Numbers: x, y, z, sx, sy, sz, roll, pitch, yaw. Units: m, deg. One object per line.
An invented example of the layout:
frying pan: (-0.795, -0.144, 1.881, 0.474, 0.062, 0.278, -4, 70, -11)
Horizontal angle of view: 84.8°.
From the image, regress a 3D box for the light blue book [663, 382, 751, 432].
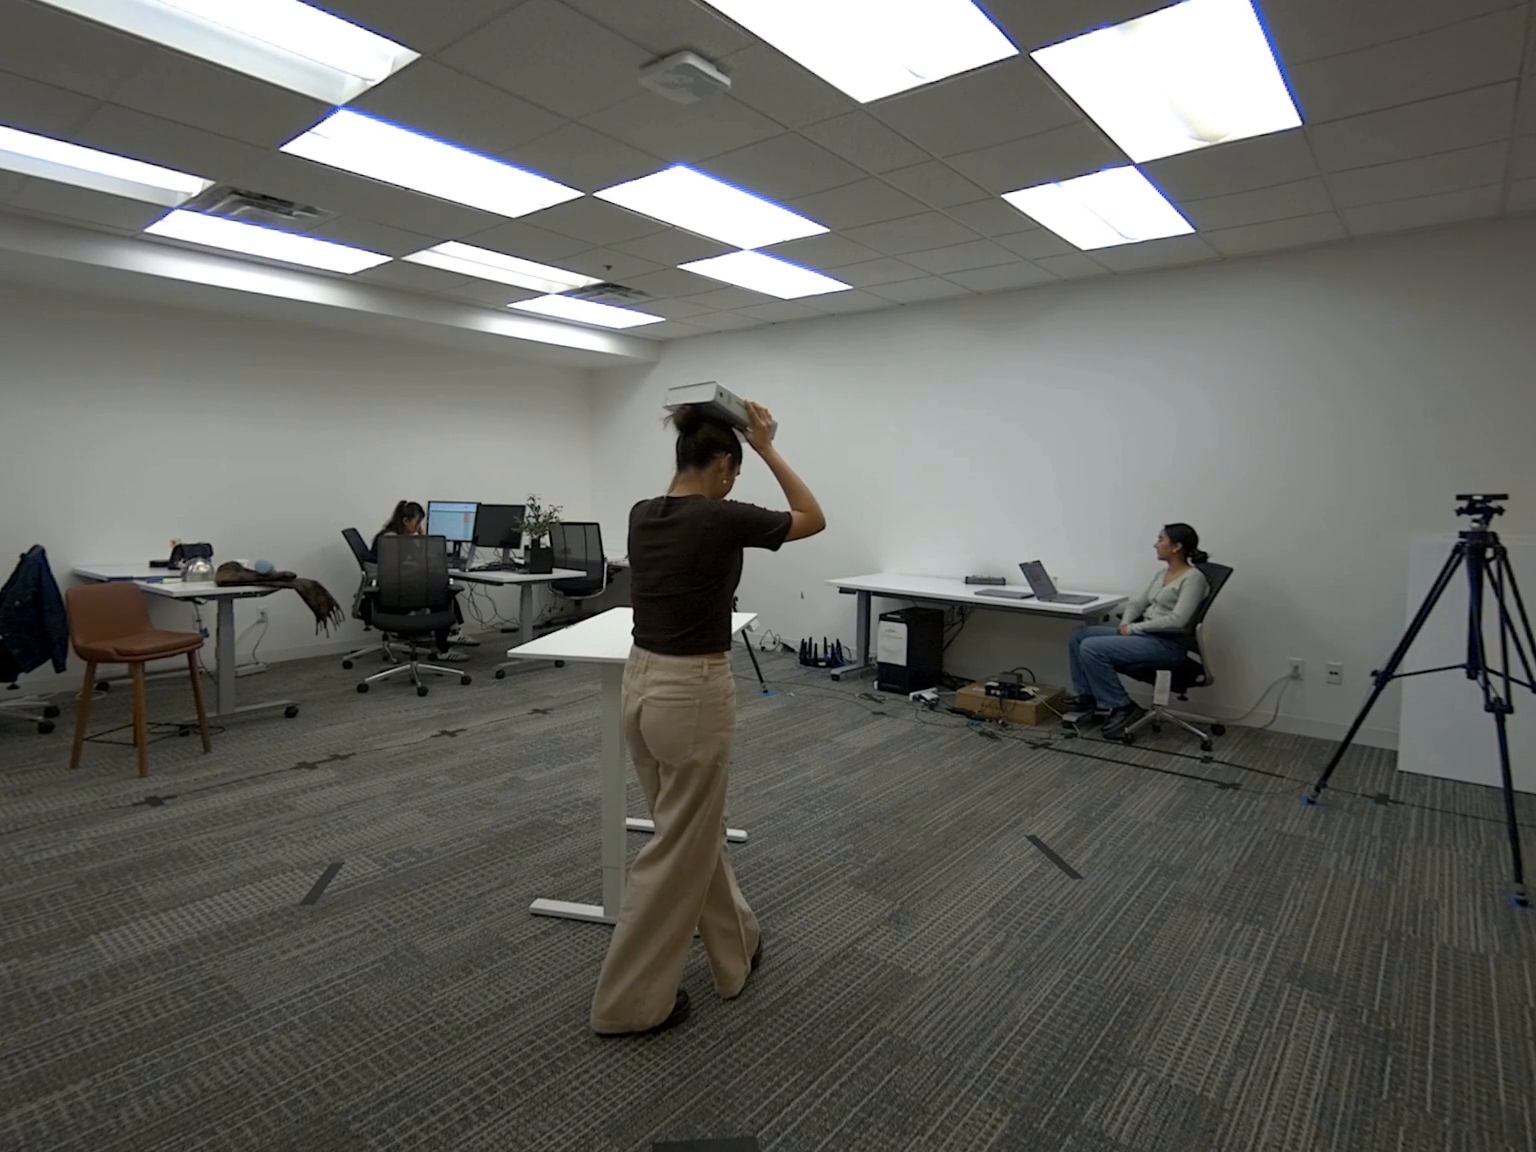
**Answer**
light blue book: (-0.142, -0.443, 2.320, 0.198, 0.059, 0.250, 3, -15, 41)
